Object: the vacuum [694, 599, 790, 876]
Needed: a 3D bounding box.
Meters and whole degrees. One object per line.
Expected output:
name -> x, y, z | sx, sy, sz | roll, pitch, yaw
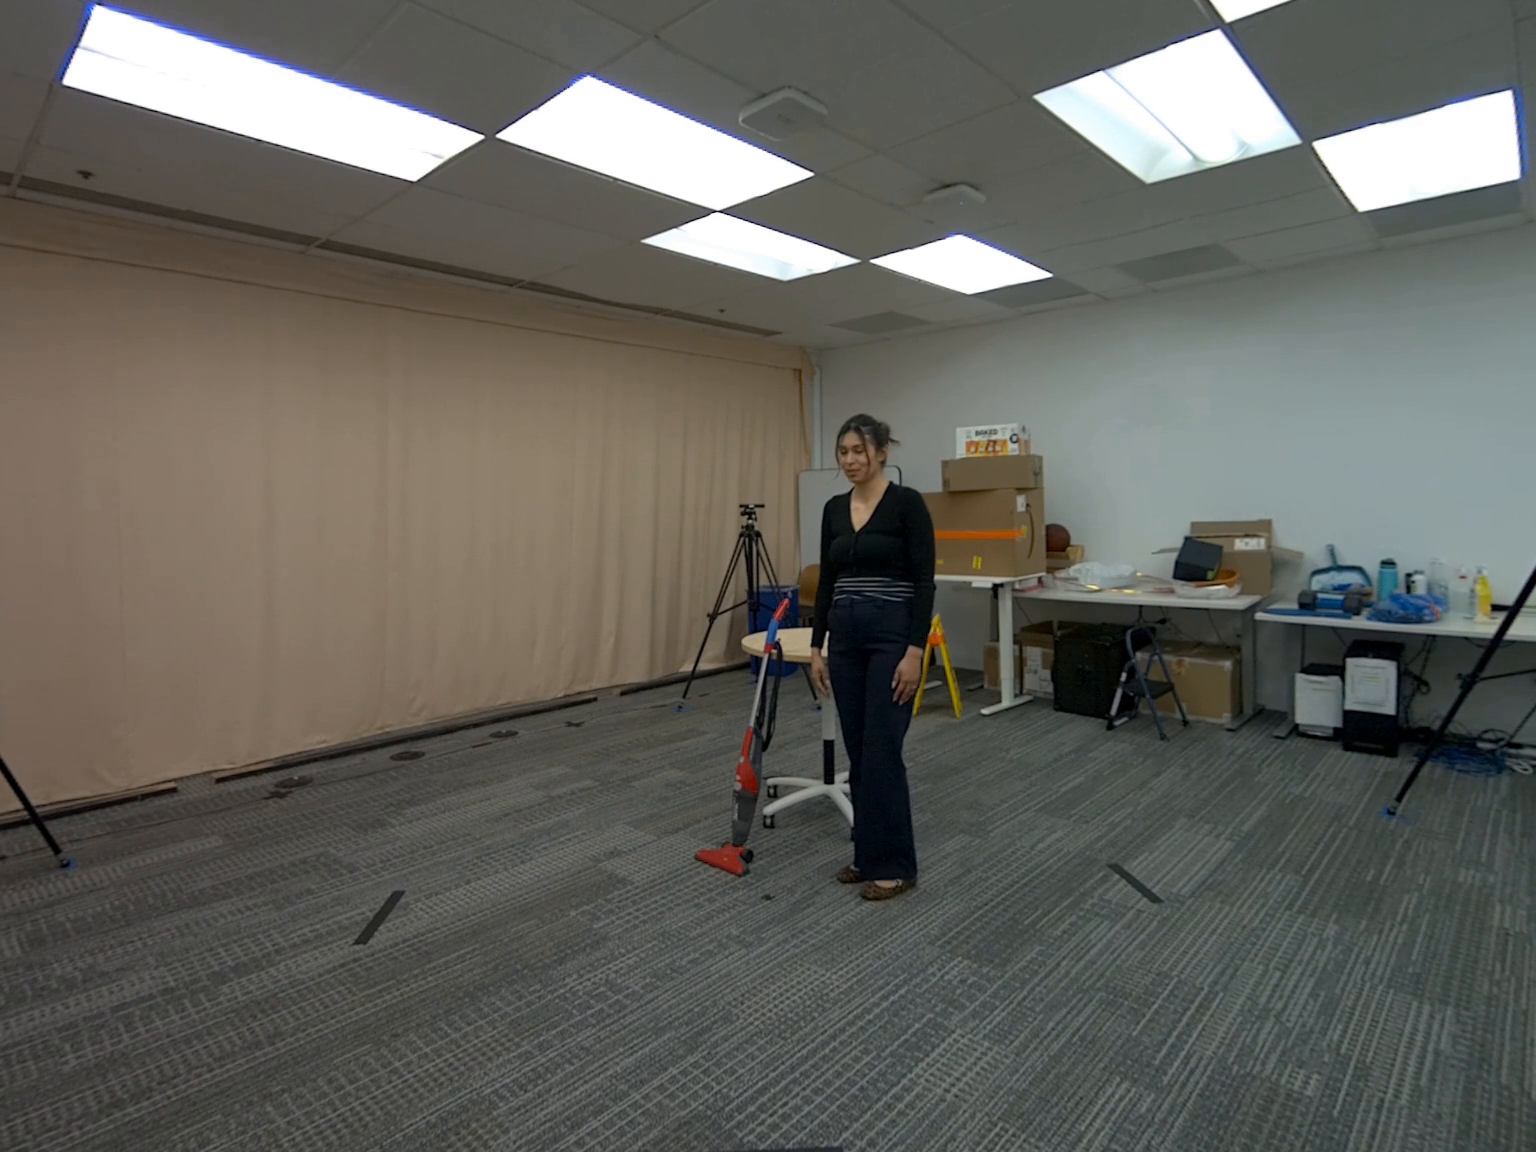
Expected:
vacuum -> -0.039, 0.614, 3.393 | 0.261, 1.054, 0.139 | 0, -18, 45
